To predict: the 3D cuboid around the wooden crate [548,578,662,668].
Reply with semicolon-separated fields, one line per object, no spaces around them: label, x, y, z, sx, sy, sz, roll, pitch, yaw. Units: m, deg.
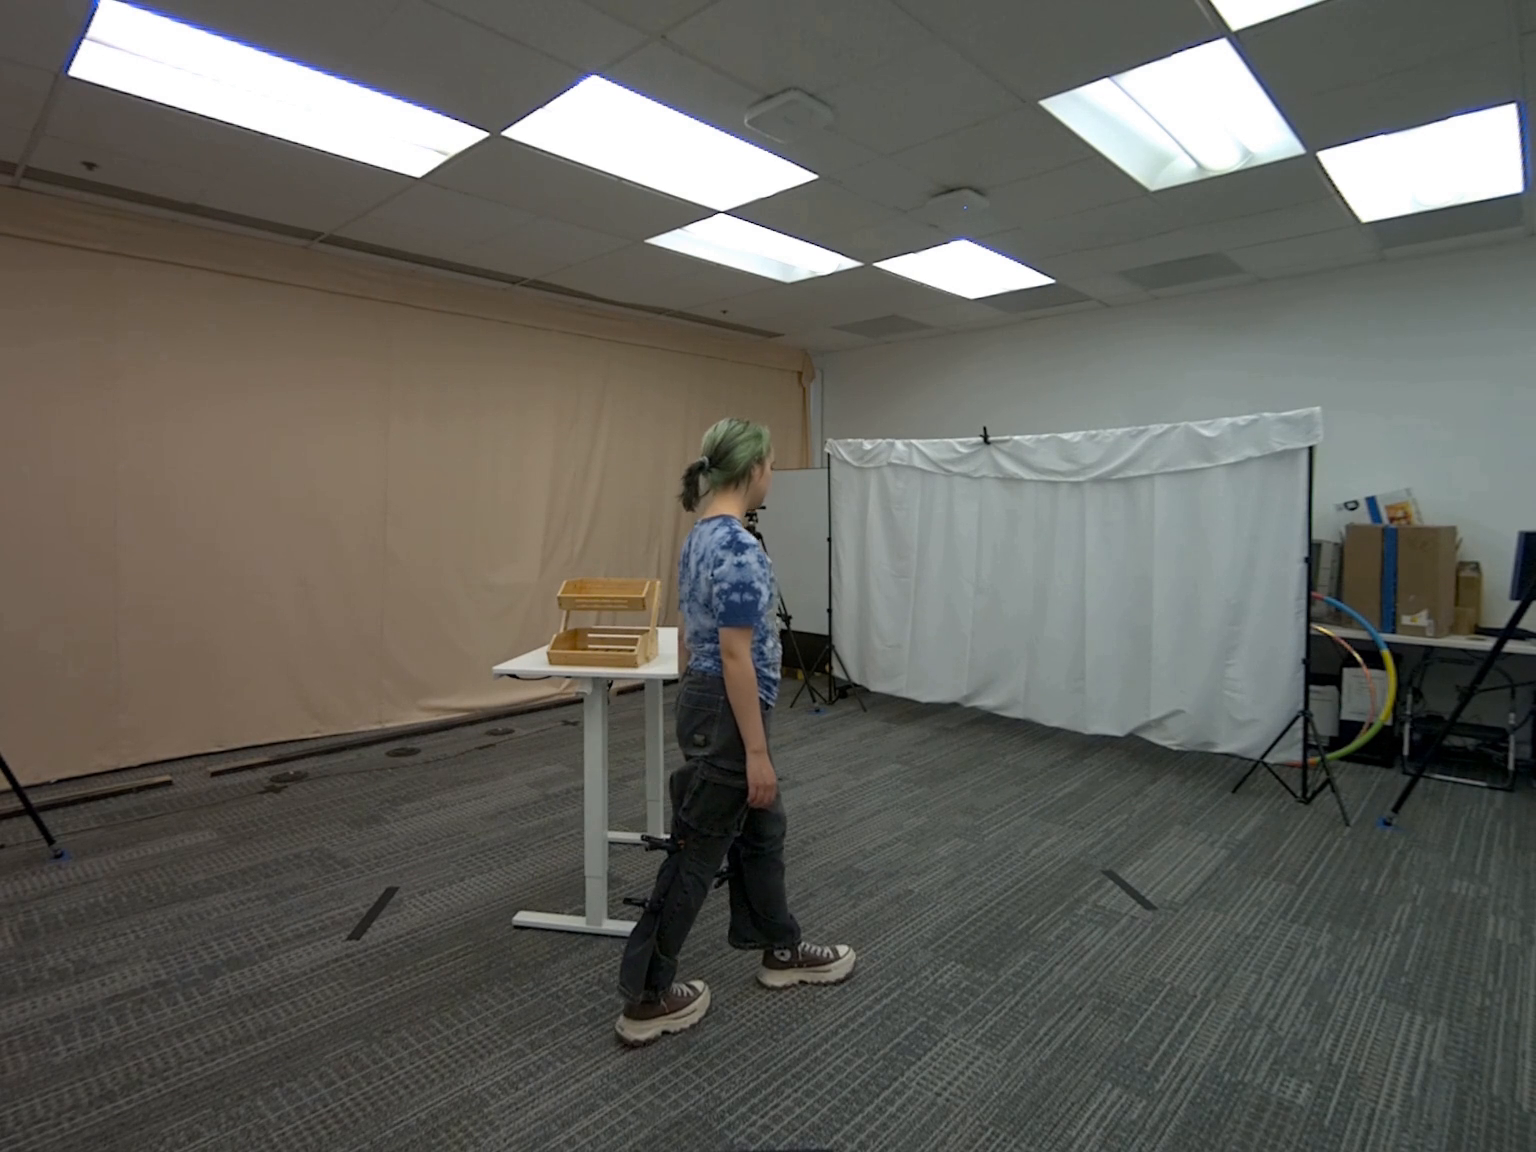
wooden crate;-0.540;0.146;2.791;0.328;0.273;0.299;0;2;10
